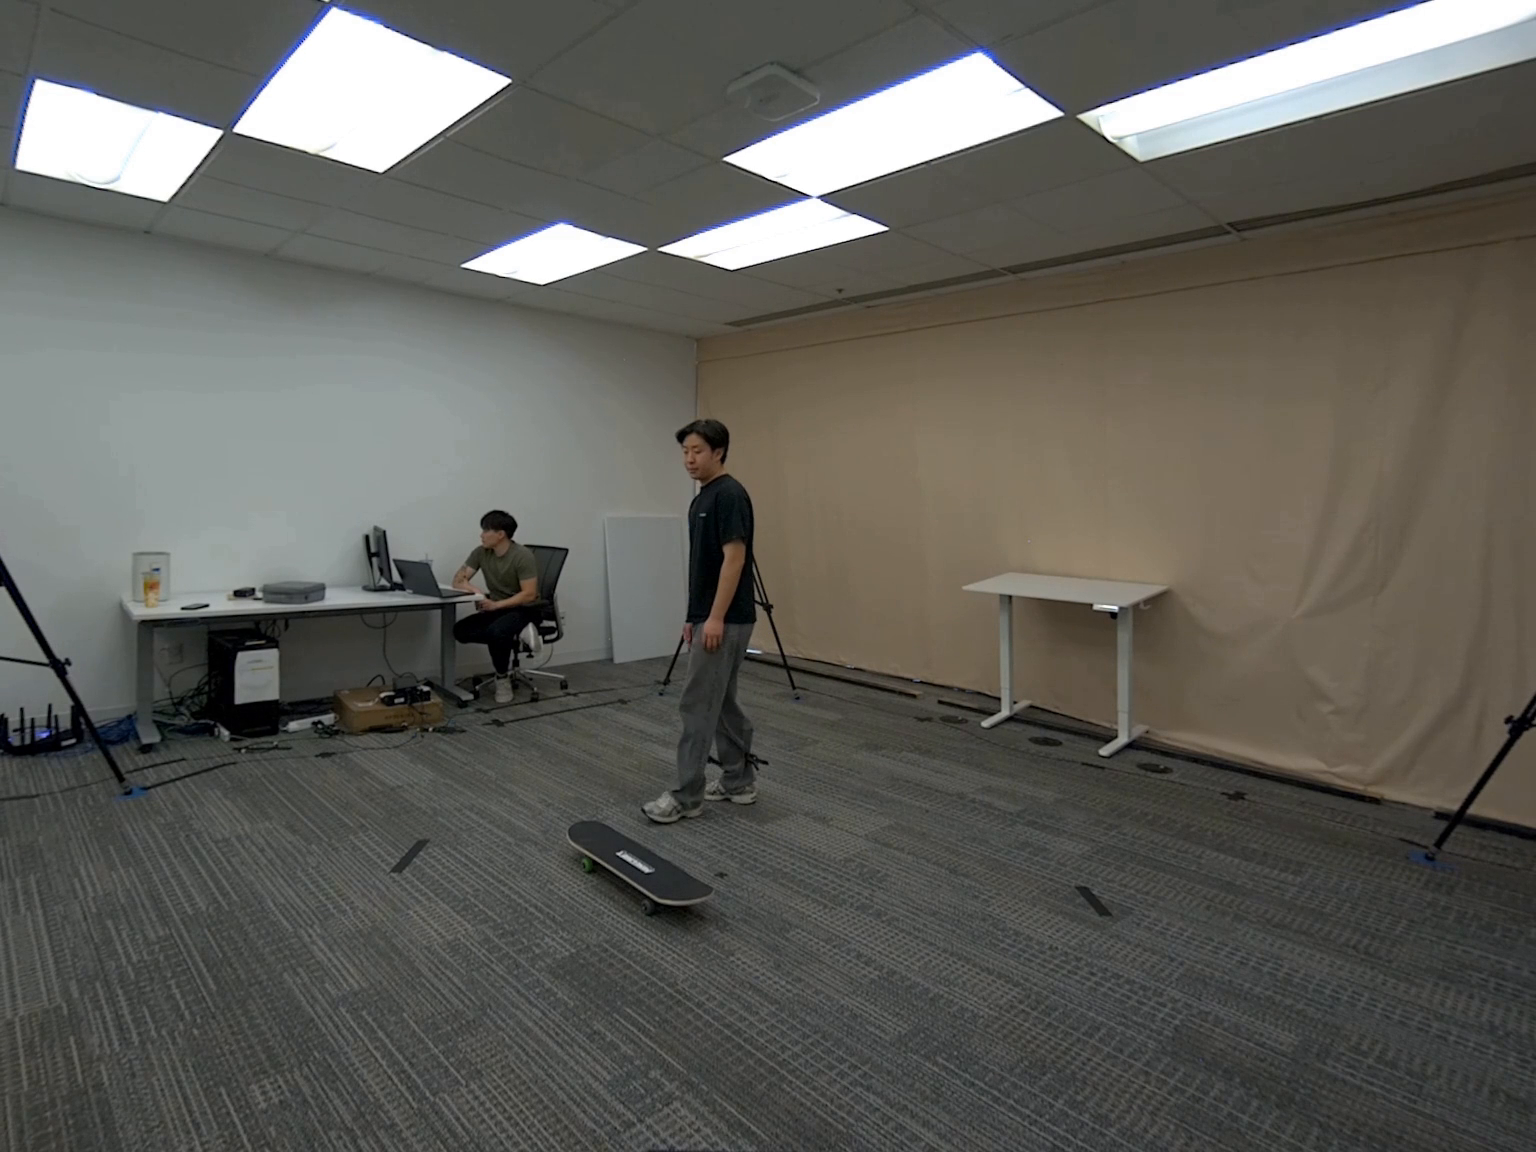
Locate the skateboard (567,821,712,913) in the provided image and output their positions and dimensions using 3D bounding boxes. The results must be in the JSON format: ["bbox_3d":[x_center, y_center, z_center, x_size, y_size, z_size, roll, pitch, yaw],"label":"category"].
[{"bbox_3d":[-0.483,1.054,3.000,0.189,0.110,0.806,-3,7,-41],"label":"skateboard"}]
